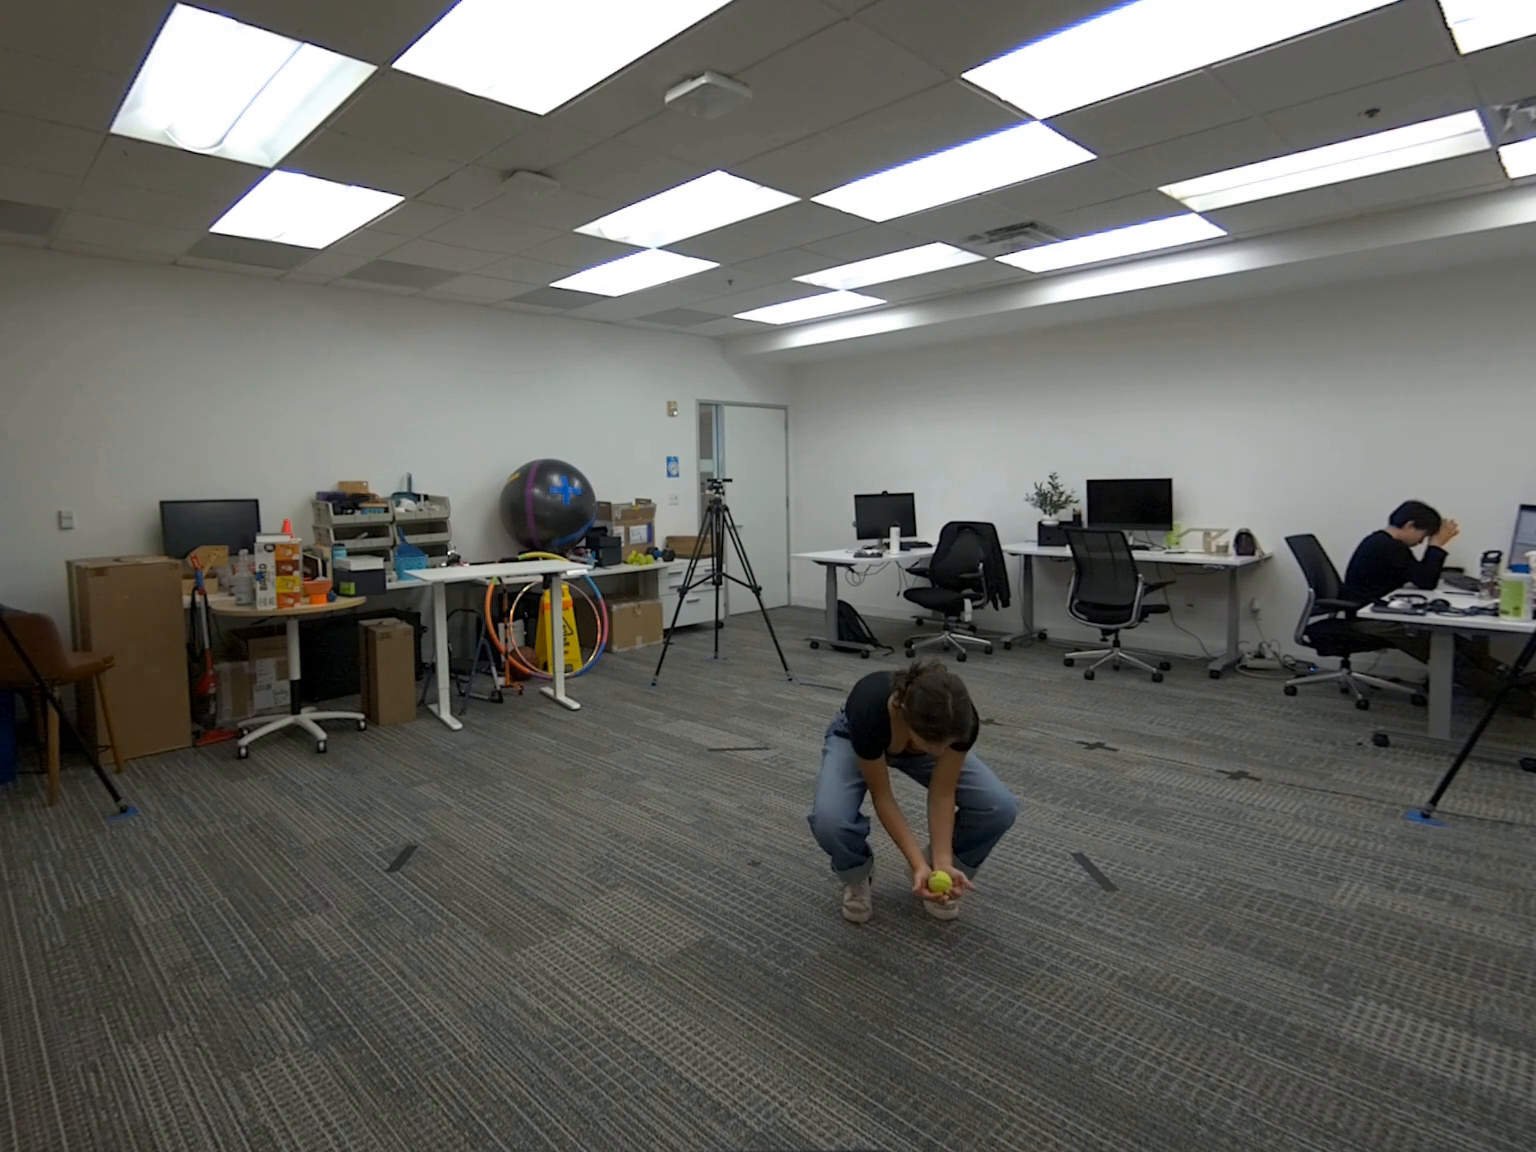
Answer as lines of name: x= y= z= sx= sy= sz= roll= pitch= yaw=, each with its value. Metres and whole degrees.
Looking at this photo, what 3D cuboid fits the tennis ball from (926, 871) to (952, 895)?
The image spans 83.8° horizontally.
tennis ball: x=0.478 y=0.901 z=2.435 sx=0.066 sy=0.066 sz=0.067 roll=-1 pitch=5 yaw=-2
